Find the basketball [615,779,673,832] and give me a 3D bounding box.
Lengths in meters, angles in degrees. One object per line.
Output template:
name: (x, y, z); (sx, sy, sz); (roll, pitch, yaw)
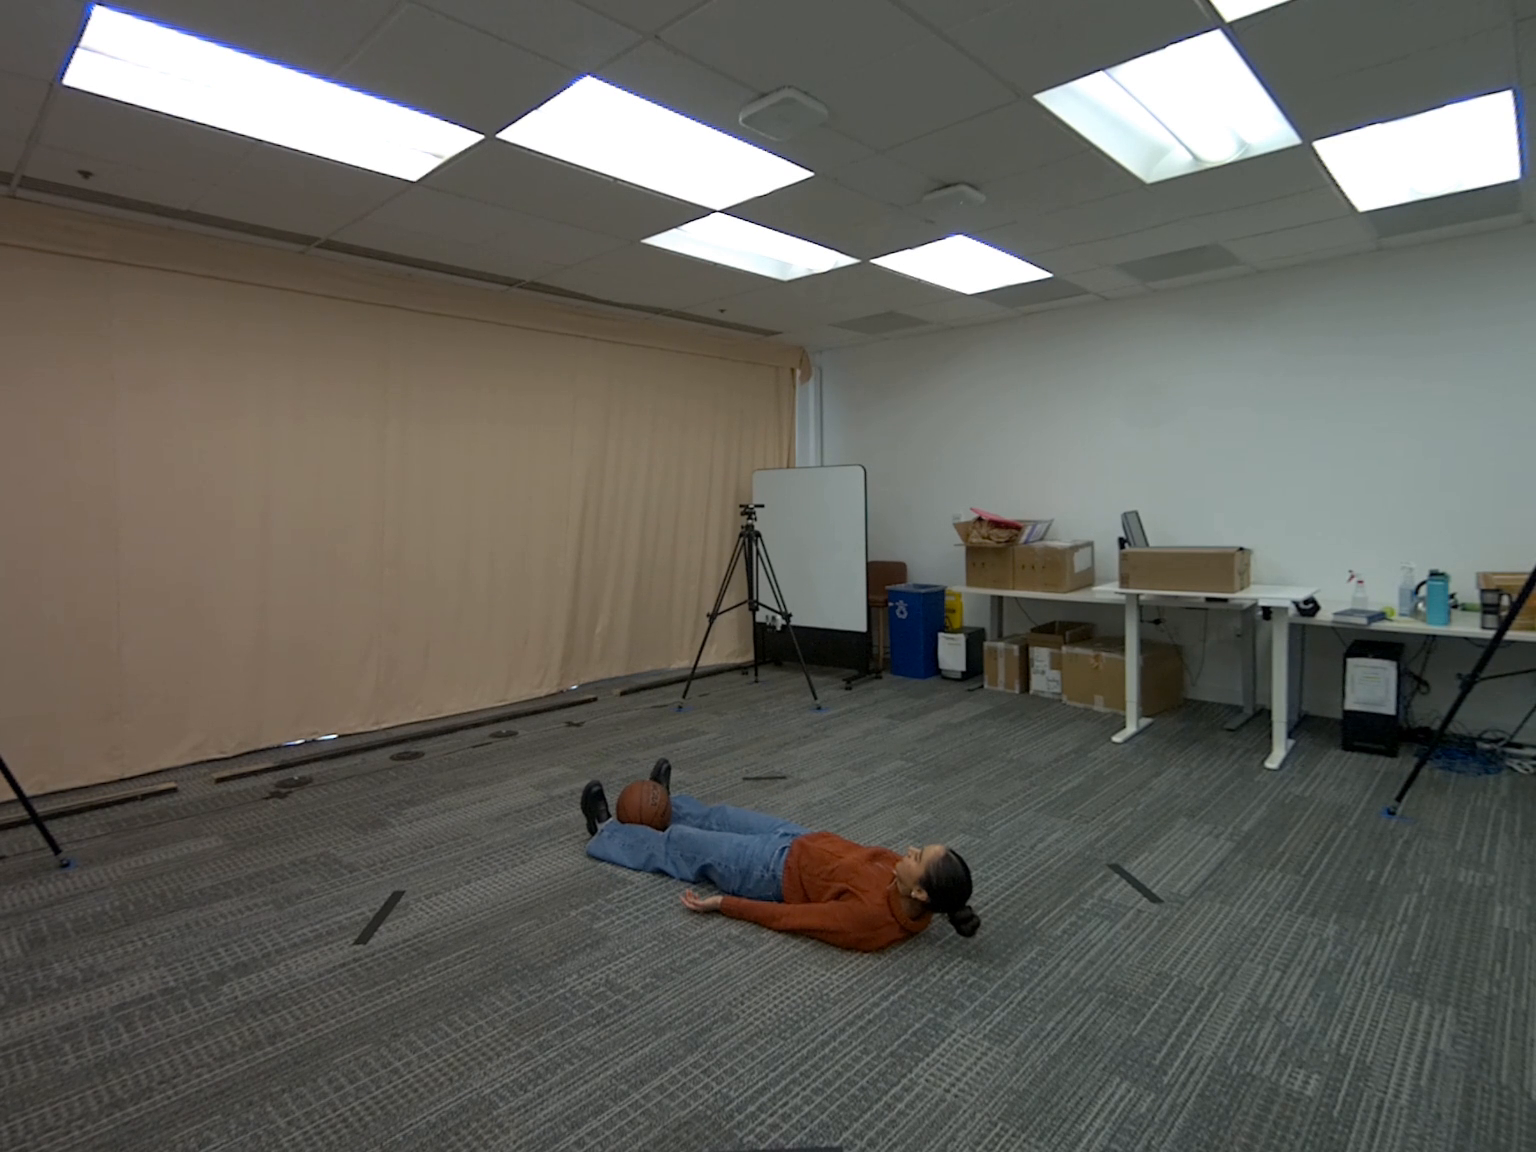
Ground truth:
basketball: (-0.522, 0.989, 3.566); (0.236, 0.235, 0.237); (-1, 4, -2)
